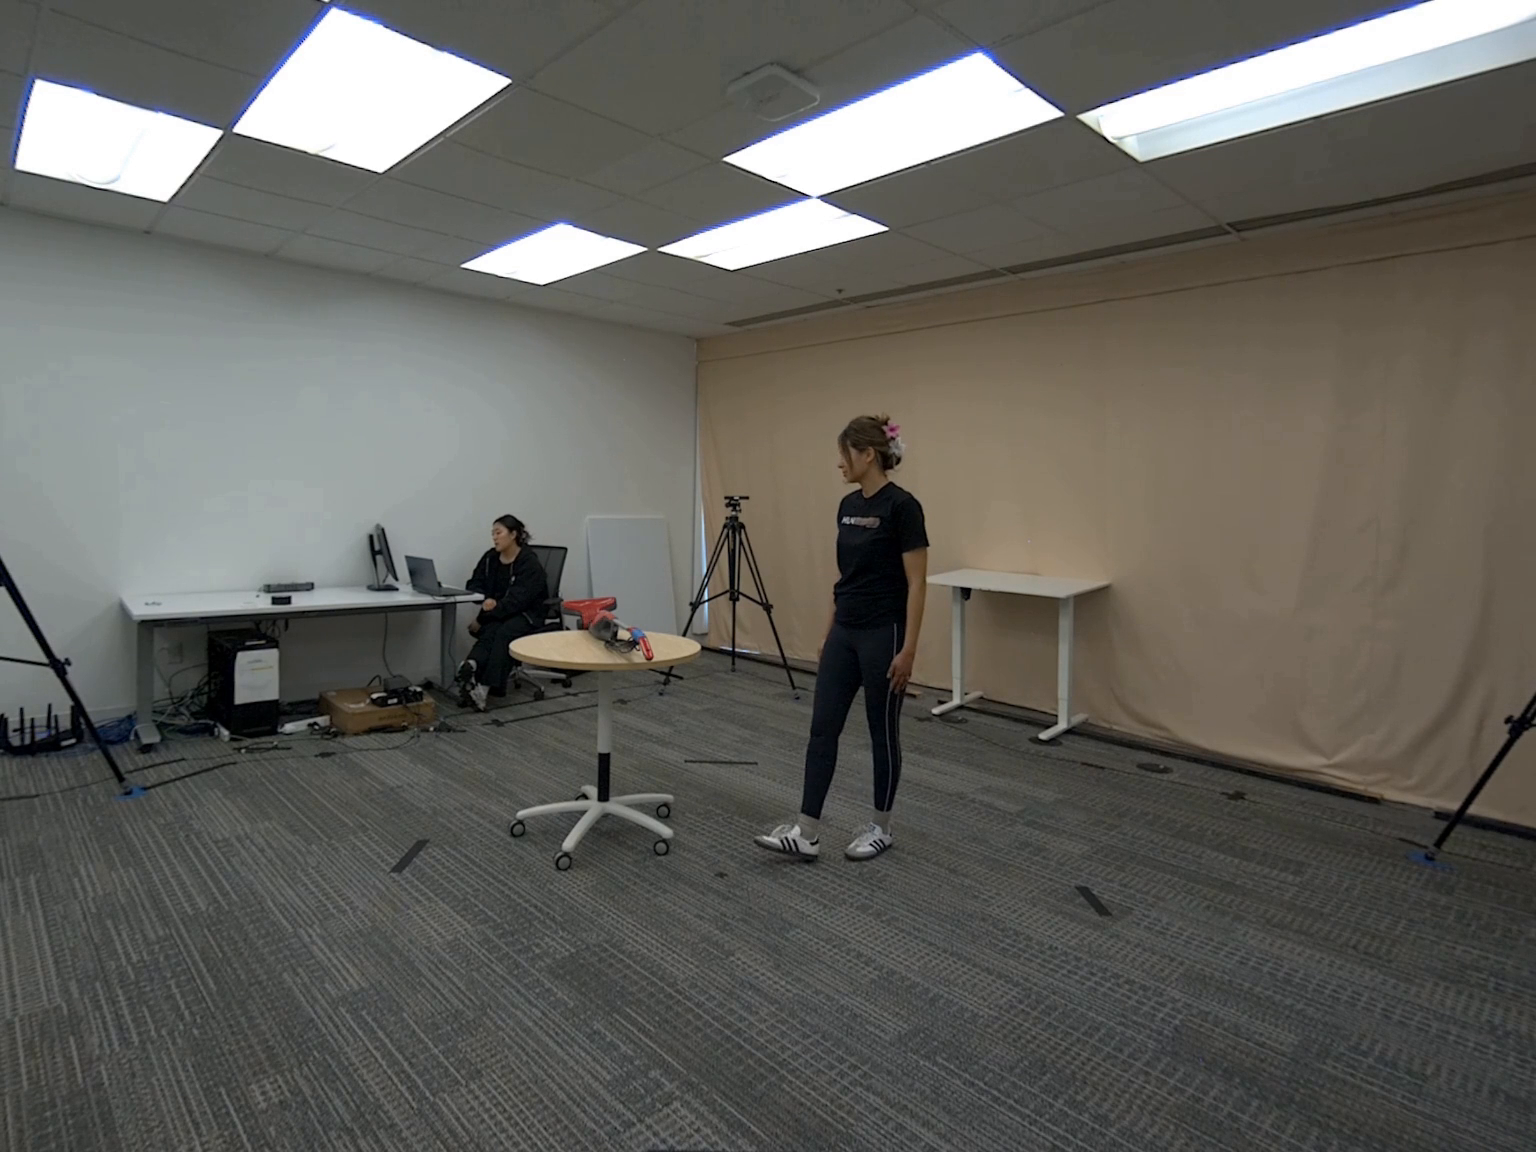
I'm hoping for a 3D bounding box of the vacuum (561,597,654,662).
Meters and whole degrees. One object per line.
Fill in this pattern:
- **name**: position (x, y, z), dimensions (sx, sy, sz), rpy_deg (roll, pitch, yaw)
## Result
- **vacuum**: position (-0.600, 0.236, 3.339), dimensions (0.249, 0.143, 1.070), rpy_deg (-6, 8, -22)
